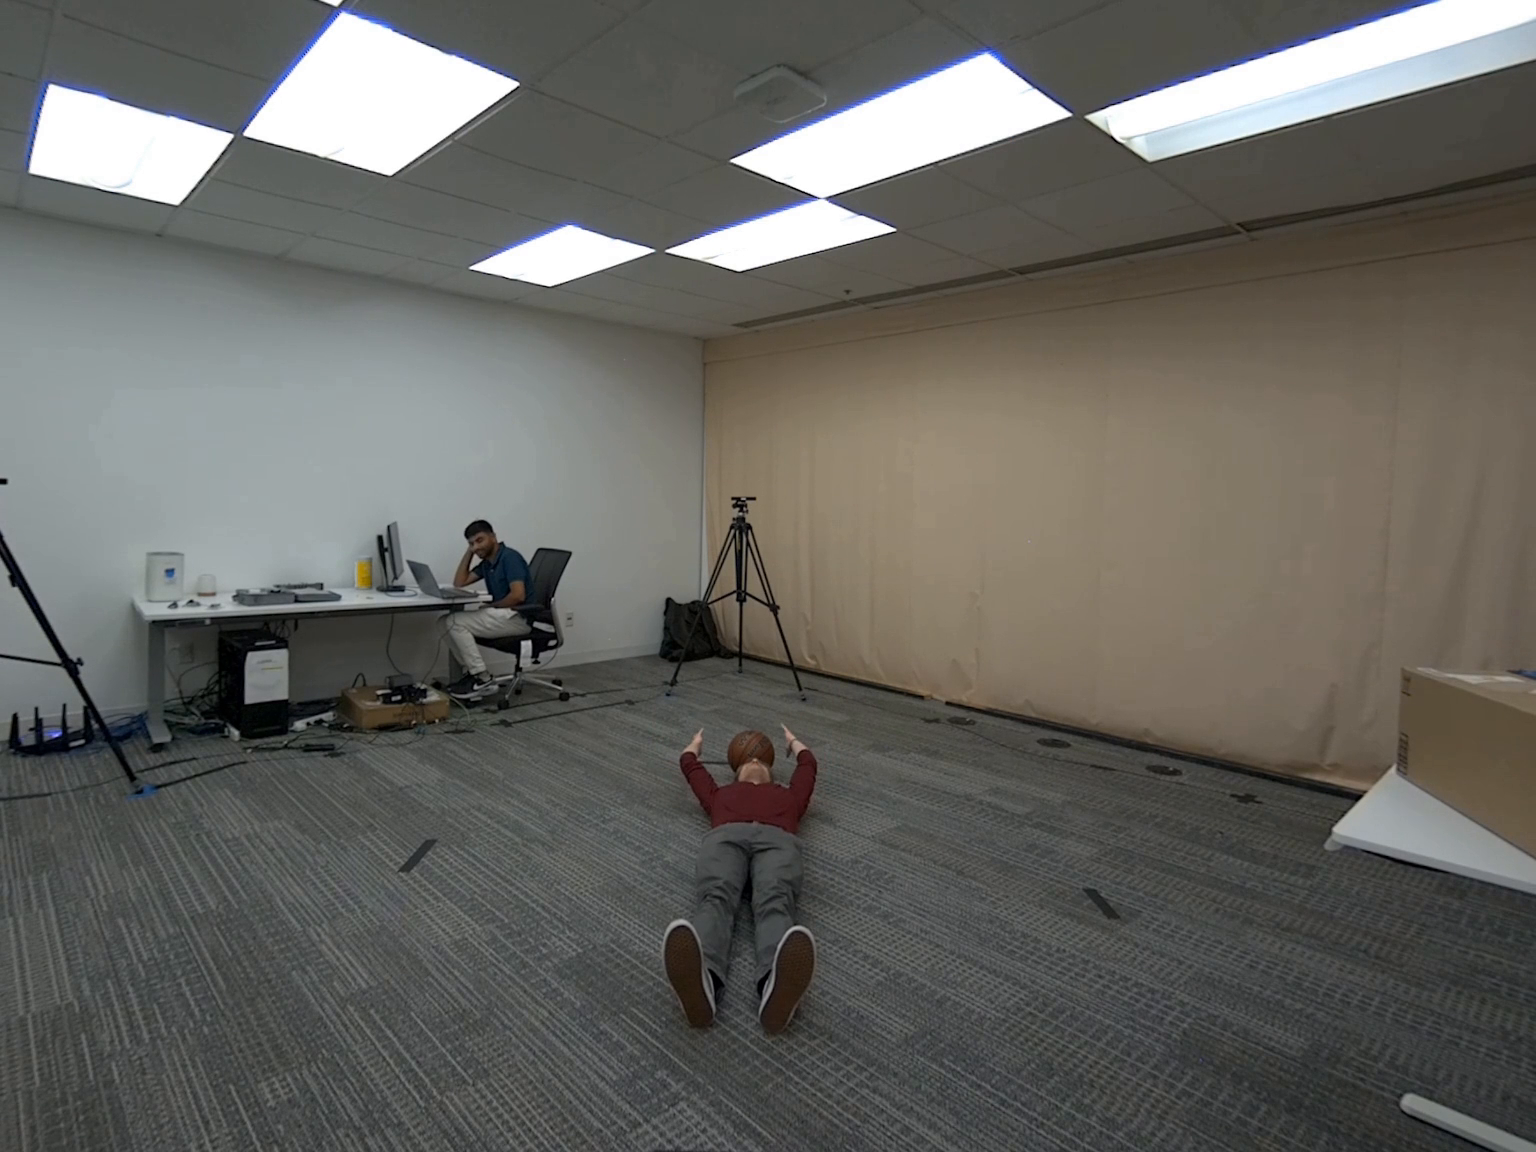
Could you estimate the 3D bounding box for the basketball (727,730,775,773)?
[{"bbox_3d":[-0.104,0.897,4.225,0.236,0.235,0.237,1,4,-1],"label":"basketball"}]
